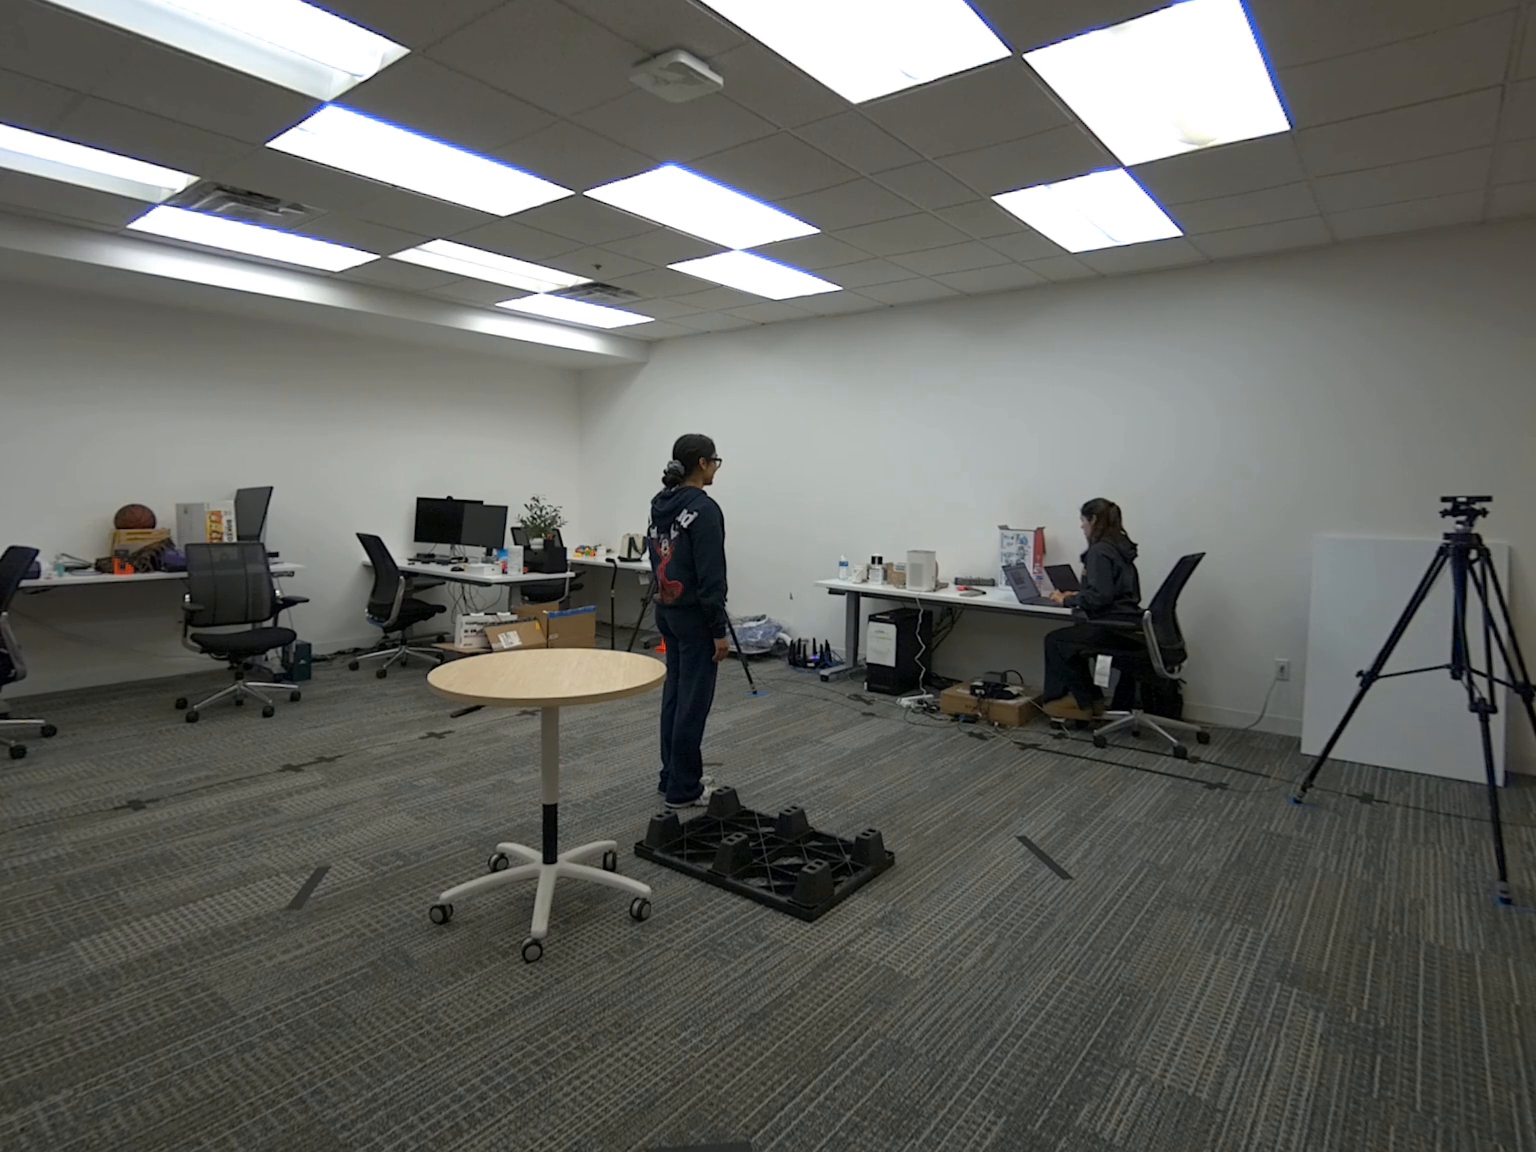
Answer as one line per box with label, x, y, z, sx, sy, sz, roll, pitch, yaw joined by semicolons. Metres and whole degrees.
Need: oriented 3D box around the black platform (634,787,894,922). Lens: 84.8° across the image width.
black platform;-0.031;0.995;3.198;0.832;0.143;0.588;5;6;36
